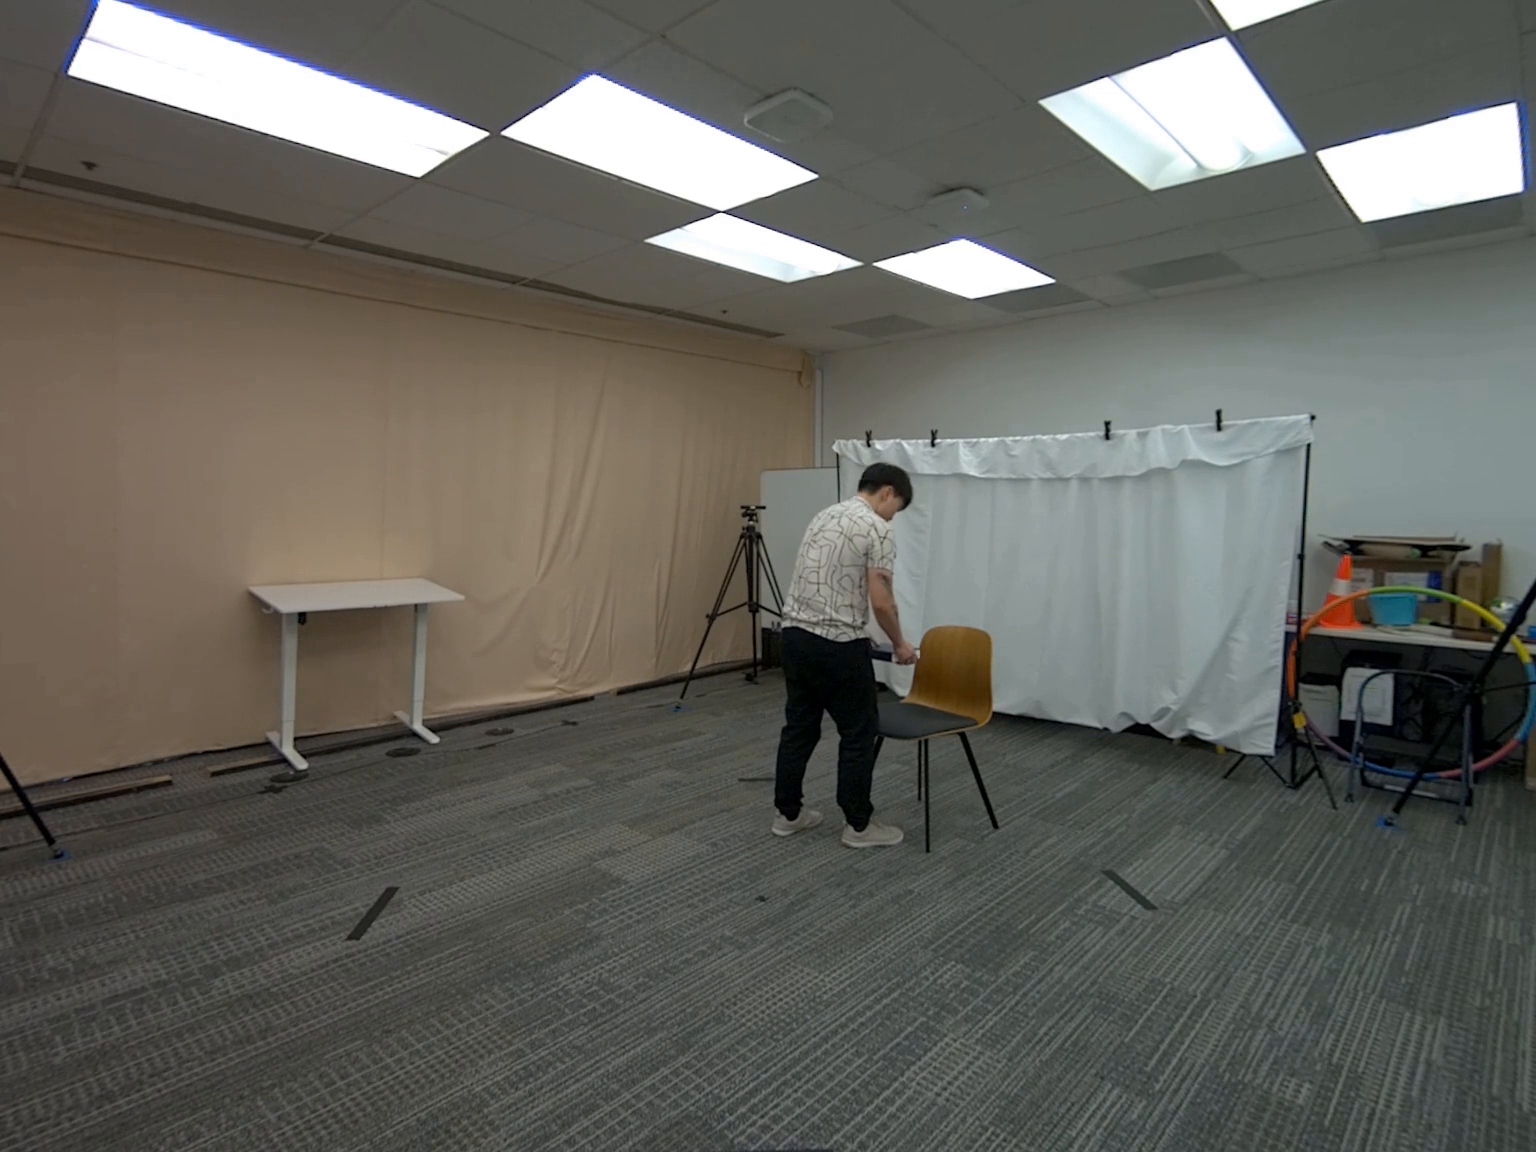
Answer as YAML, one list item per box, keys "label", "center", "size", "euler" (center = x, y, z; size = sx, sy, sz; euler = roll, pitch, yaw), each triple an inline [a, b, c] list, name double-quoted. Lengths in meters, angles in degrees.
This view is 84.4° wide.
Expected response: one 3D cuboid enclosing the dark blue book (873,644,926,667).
- label: "dark blue book"
  center: [0.518, 0.332, 3.586]
  size: [0.159, 0.045, 0.252]
  euler: [-3, 4, -29]
